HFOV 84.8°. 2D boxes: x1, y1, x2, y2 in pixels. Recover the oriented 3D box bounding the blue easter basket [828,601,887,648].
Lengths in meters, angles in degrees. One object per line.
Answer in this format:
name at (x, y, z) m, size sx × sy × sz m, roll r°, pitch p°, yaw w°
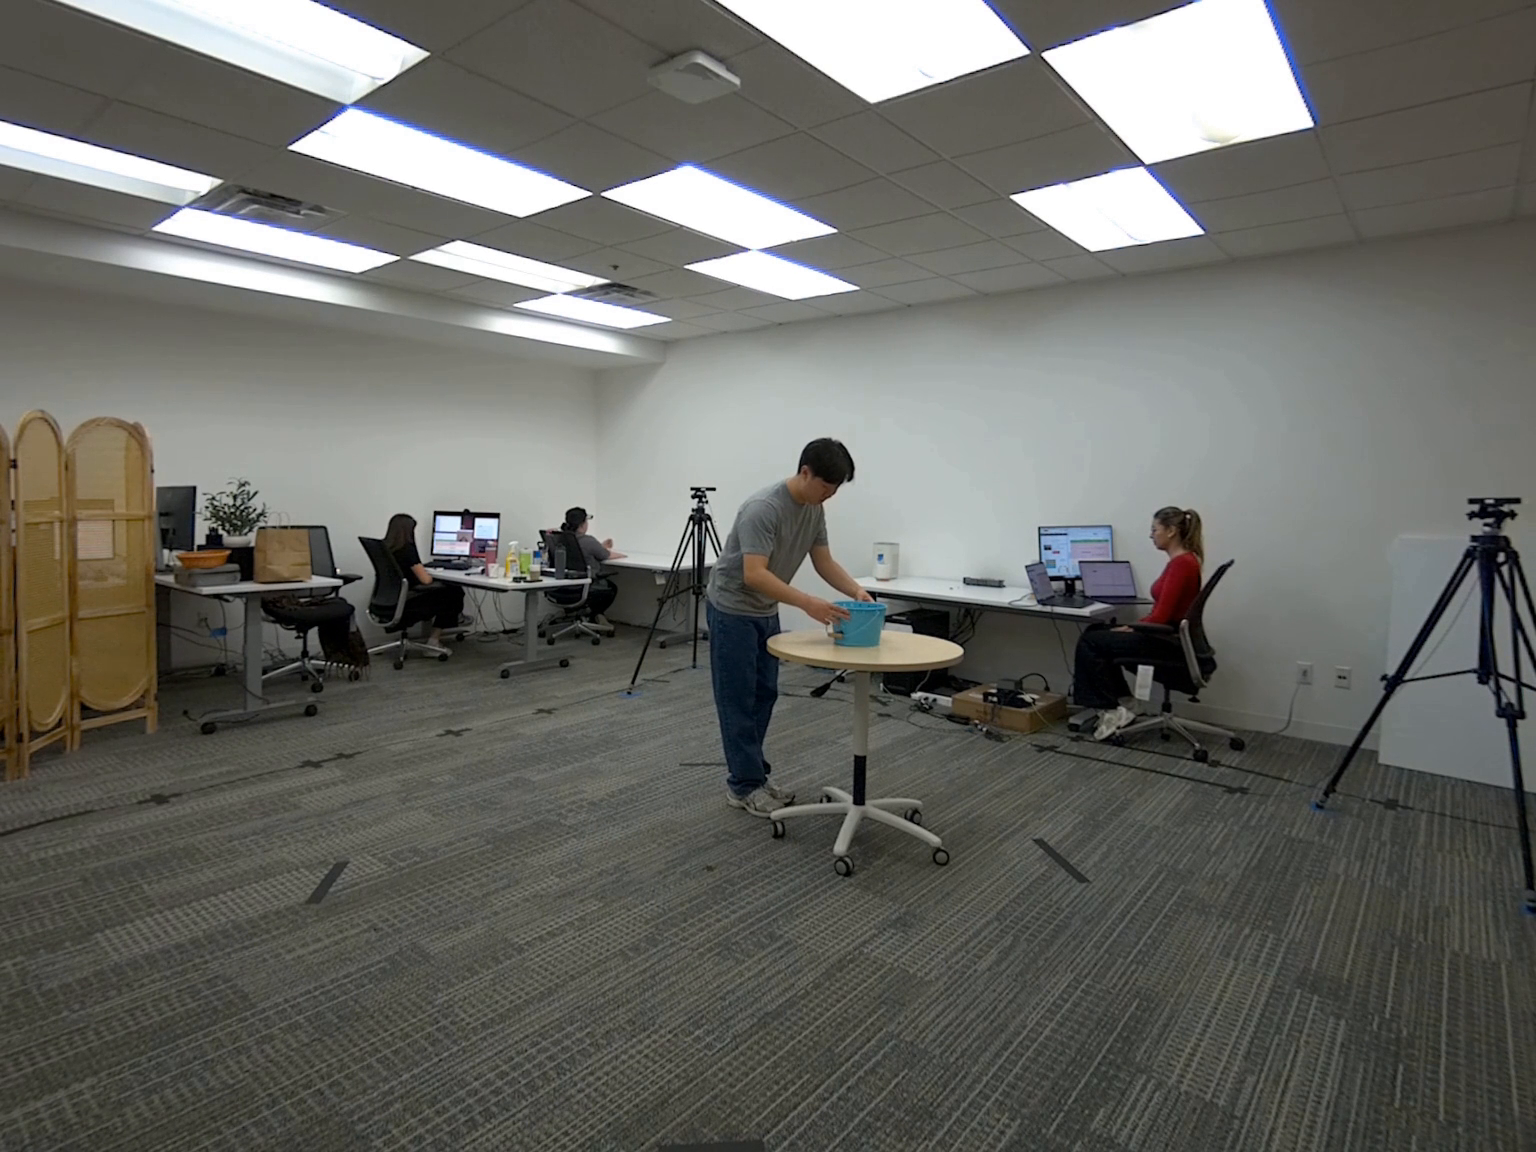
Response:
blue easter basket at (0.350, 0.192, 3.409) m, size 0.243 × 0.155 × 0.245 m, roll 2°, pitch 4°, yaw -2°
